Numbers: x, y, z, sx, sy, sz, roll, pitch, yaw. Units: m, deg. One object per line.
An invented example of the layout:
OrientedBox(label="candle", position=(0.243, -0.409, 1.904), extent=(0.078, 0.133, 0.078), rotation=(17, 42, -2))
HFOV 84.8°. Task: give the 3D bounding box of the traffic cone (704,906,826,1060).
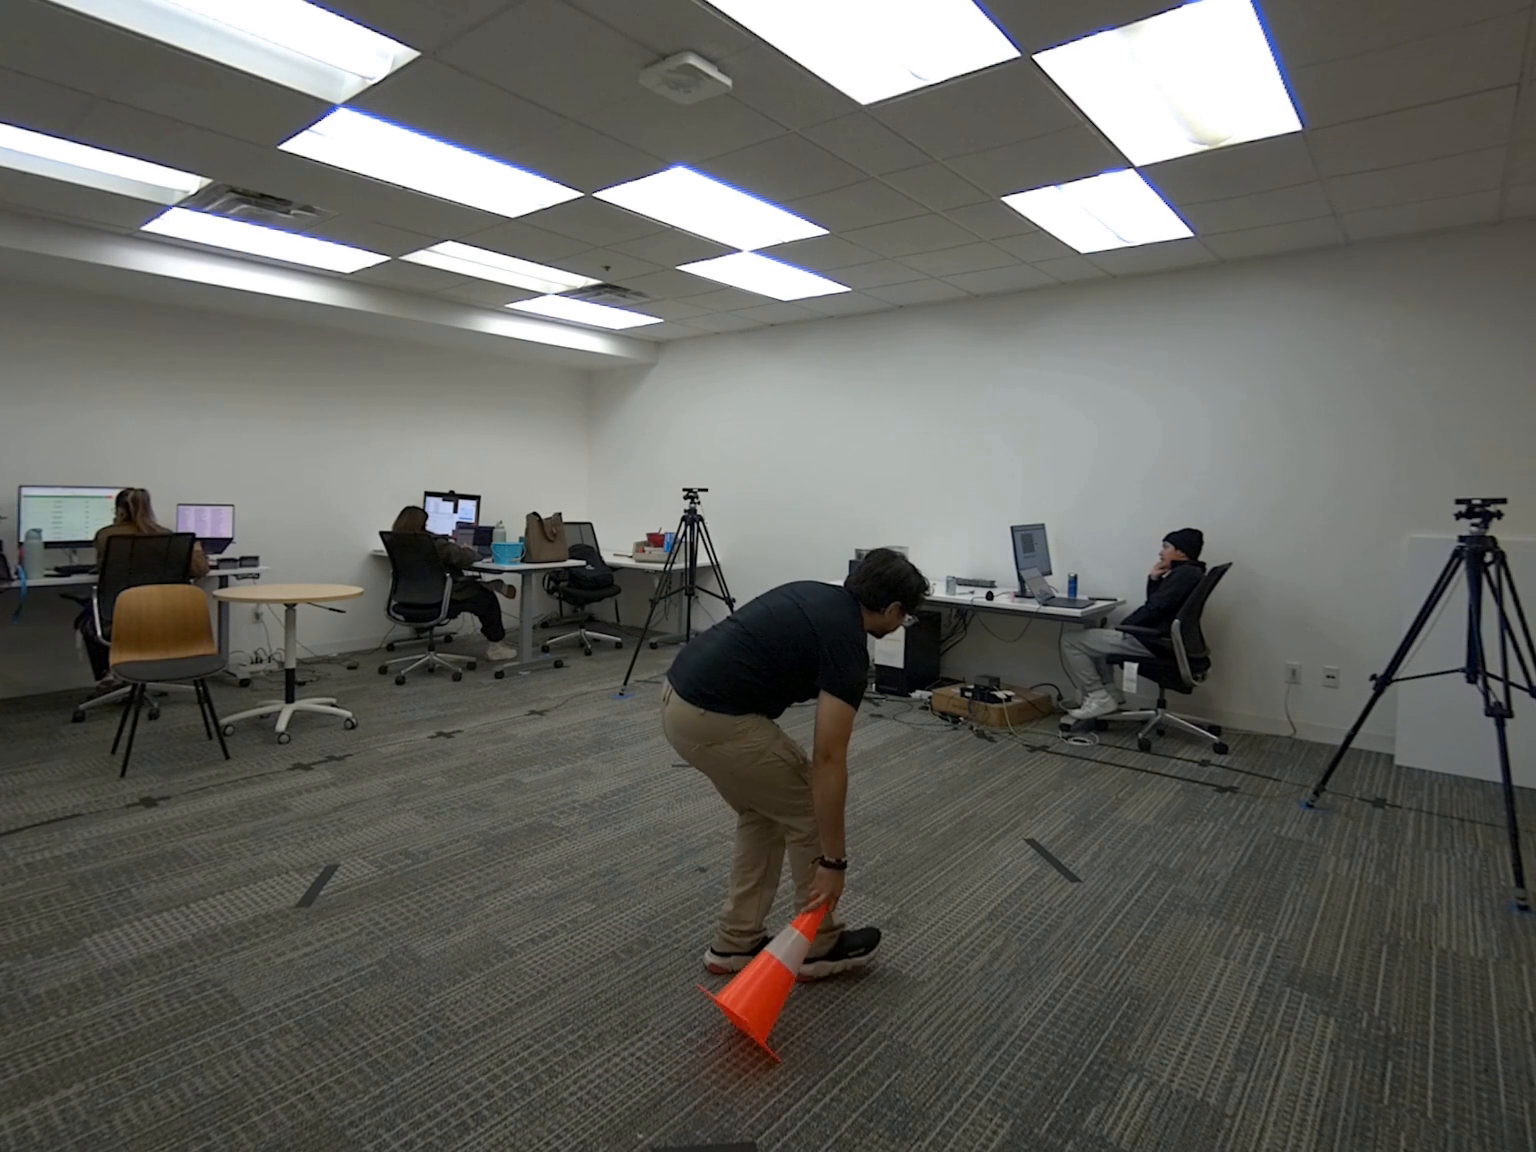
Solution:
OrientedBox(label="traffic cone", position=(0.025, 0.976, 2.184), extent=(0.210, 0.198, 0.383), rotation=(7, 48, 50))
